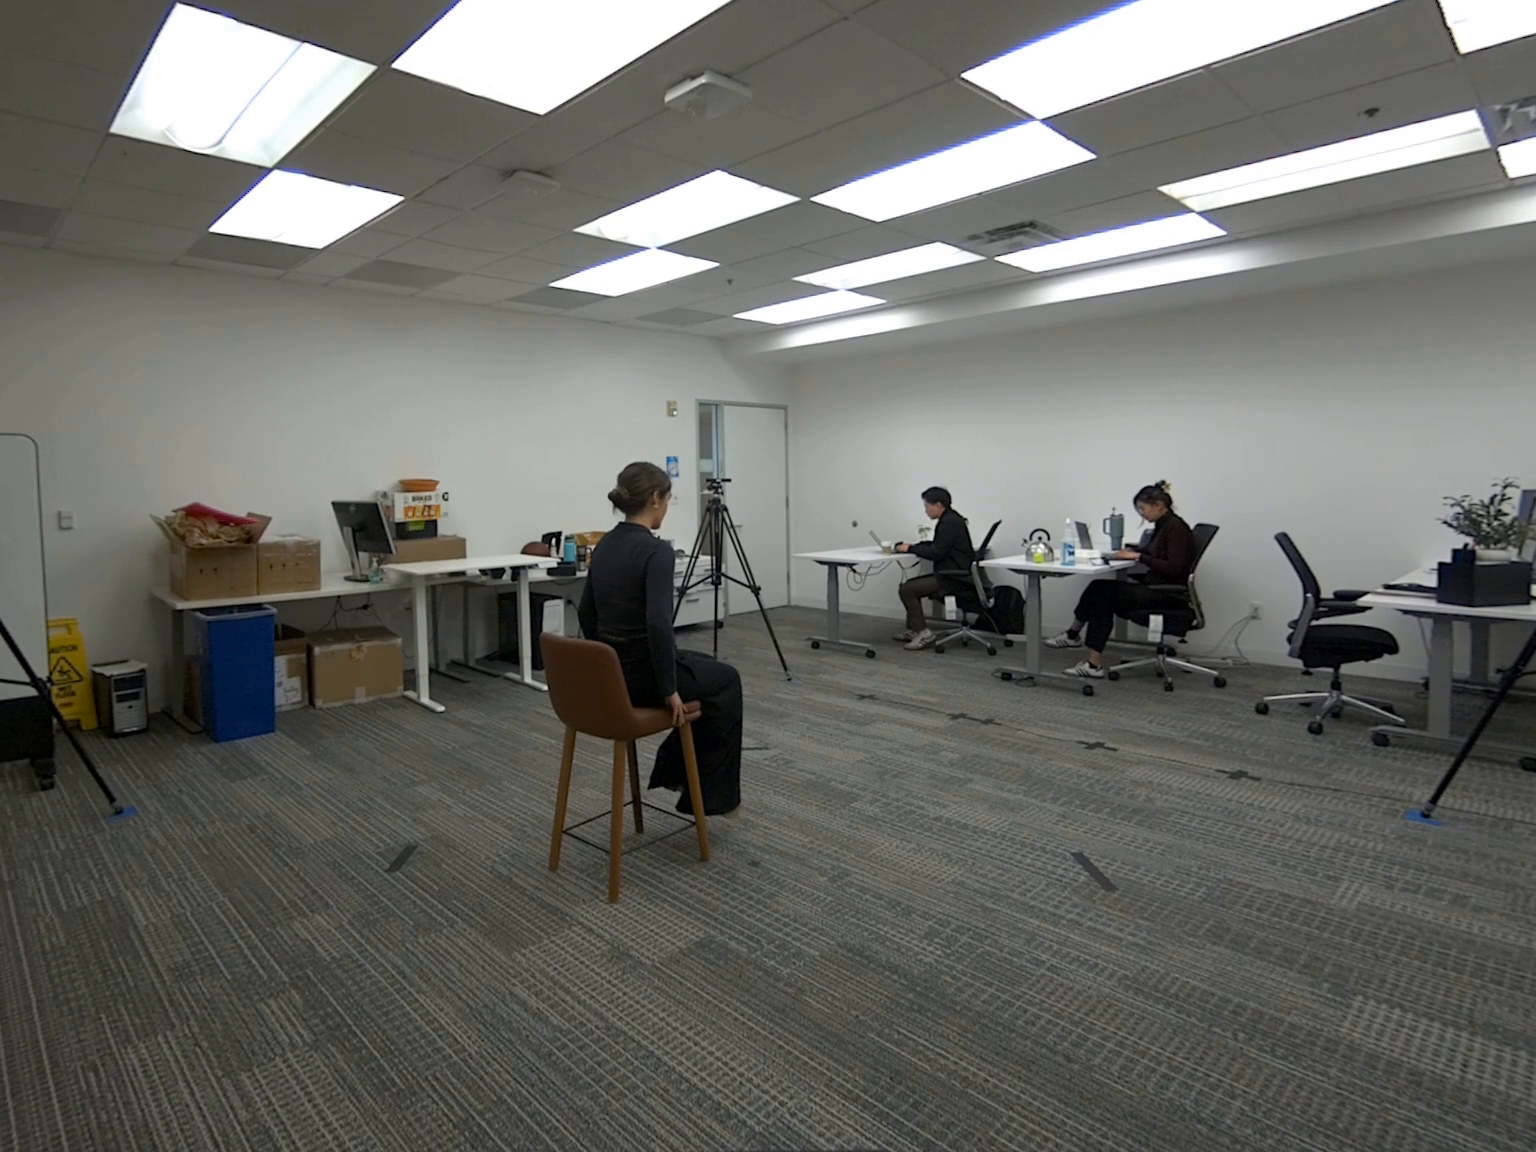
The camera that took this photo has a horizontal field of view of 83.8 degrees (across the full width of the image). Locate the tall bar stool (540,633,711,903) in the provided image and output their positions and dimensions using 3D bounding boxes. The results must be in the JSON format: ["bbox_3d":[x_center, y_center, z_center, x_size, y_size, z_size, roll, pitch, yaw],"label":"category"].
[{"bbox_3d":[-0.528,0.622,3.082,0.470,0.886,0.456,2,7,43],"label":"tall bar stool"}]
